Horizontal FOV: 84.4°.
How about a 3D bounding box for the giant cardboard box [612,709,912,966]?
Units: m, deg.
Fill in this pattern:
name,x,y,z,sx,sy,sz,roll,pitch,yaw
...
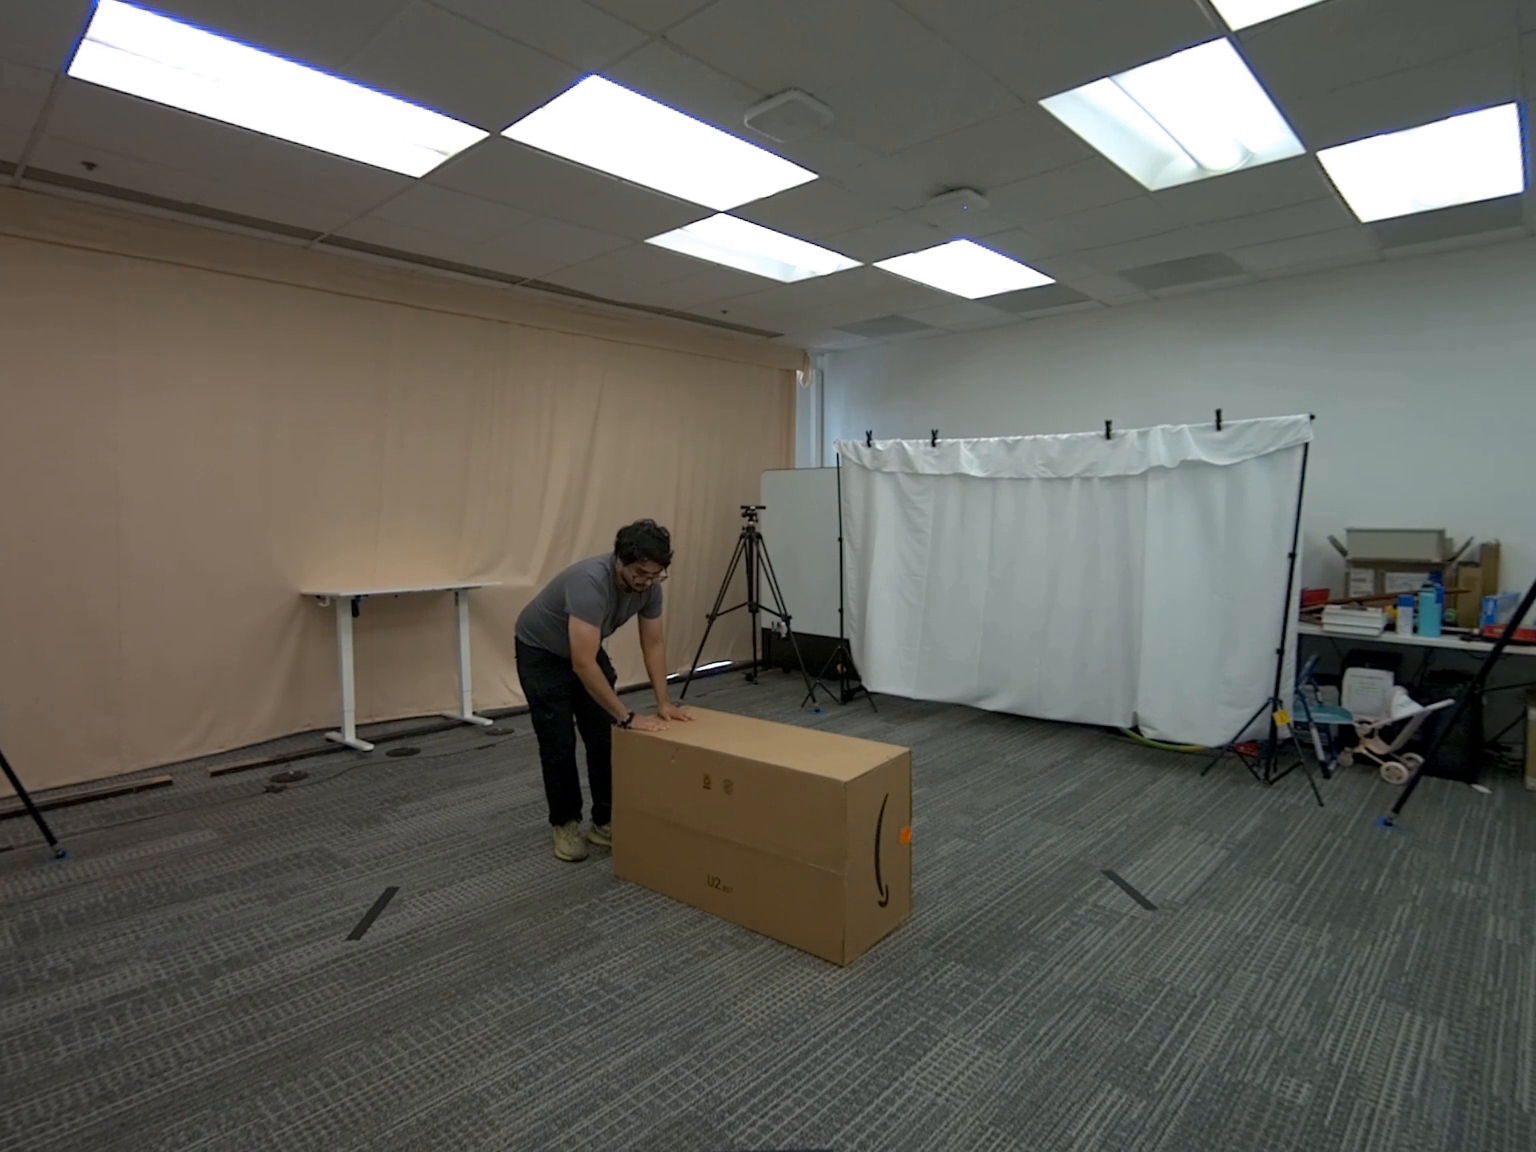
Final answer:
name,x,y,z,sx,sy,sz,roll,pitch,yaw
giant cardboard box,-0.044,0.853,3.001,1.059,0.576,0.413,3,5,39
